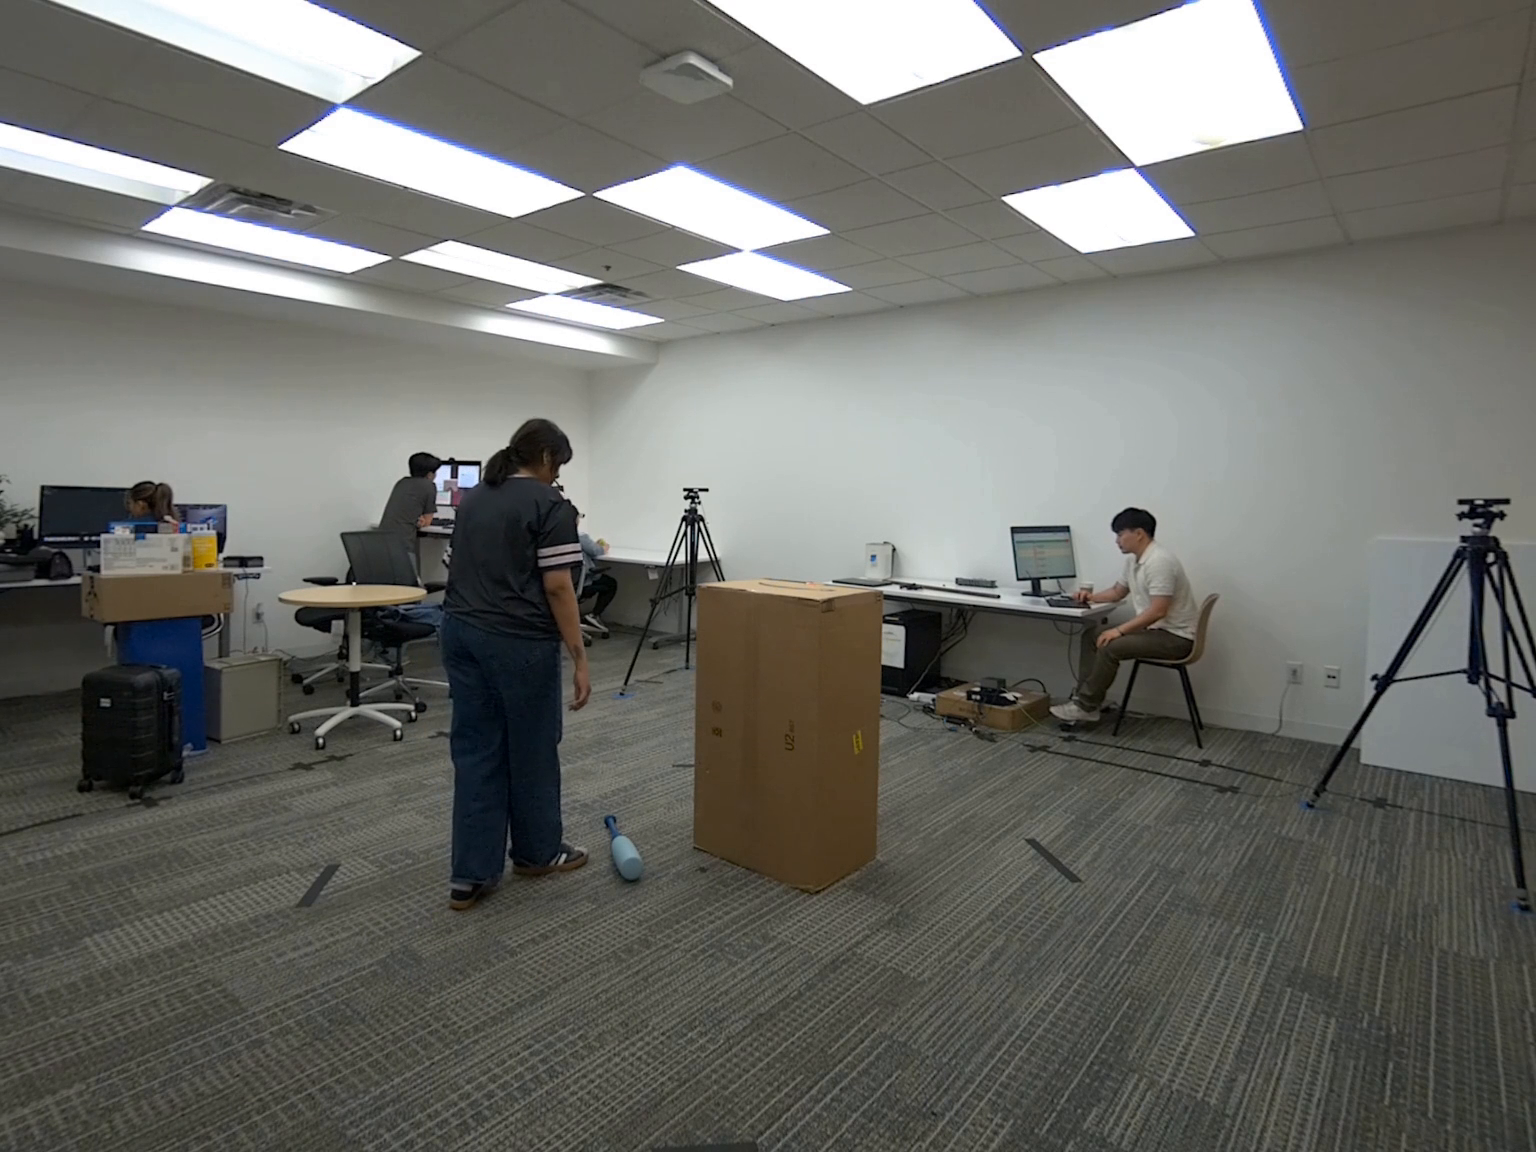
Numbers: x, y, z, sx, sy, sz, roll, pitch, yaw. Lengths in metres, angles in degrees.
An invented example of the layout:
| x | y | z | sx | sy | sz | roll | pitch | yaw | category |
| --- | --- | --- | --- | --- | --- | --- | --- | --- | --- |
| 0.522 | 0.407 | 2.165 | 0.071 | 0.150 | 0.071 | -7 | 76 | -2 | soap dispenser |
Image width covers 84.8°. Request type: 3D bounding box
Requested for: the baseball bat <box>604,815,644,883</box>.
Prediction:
| x | y | z | sx | sy | sz | roll | pitch | yaw | category |
| --- | --- | --- | --- | --- | --- | --- | --- | --- | --- |
| -0.572 | 1.016 | 3.239 | 0.087 | 0.089 | 0.552 | 0 | 3 | -17 | baseball bat |
